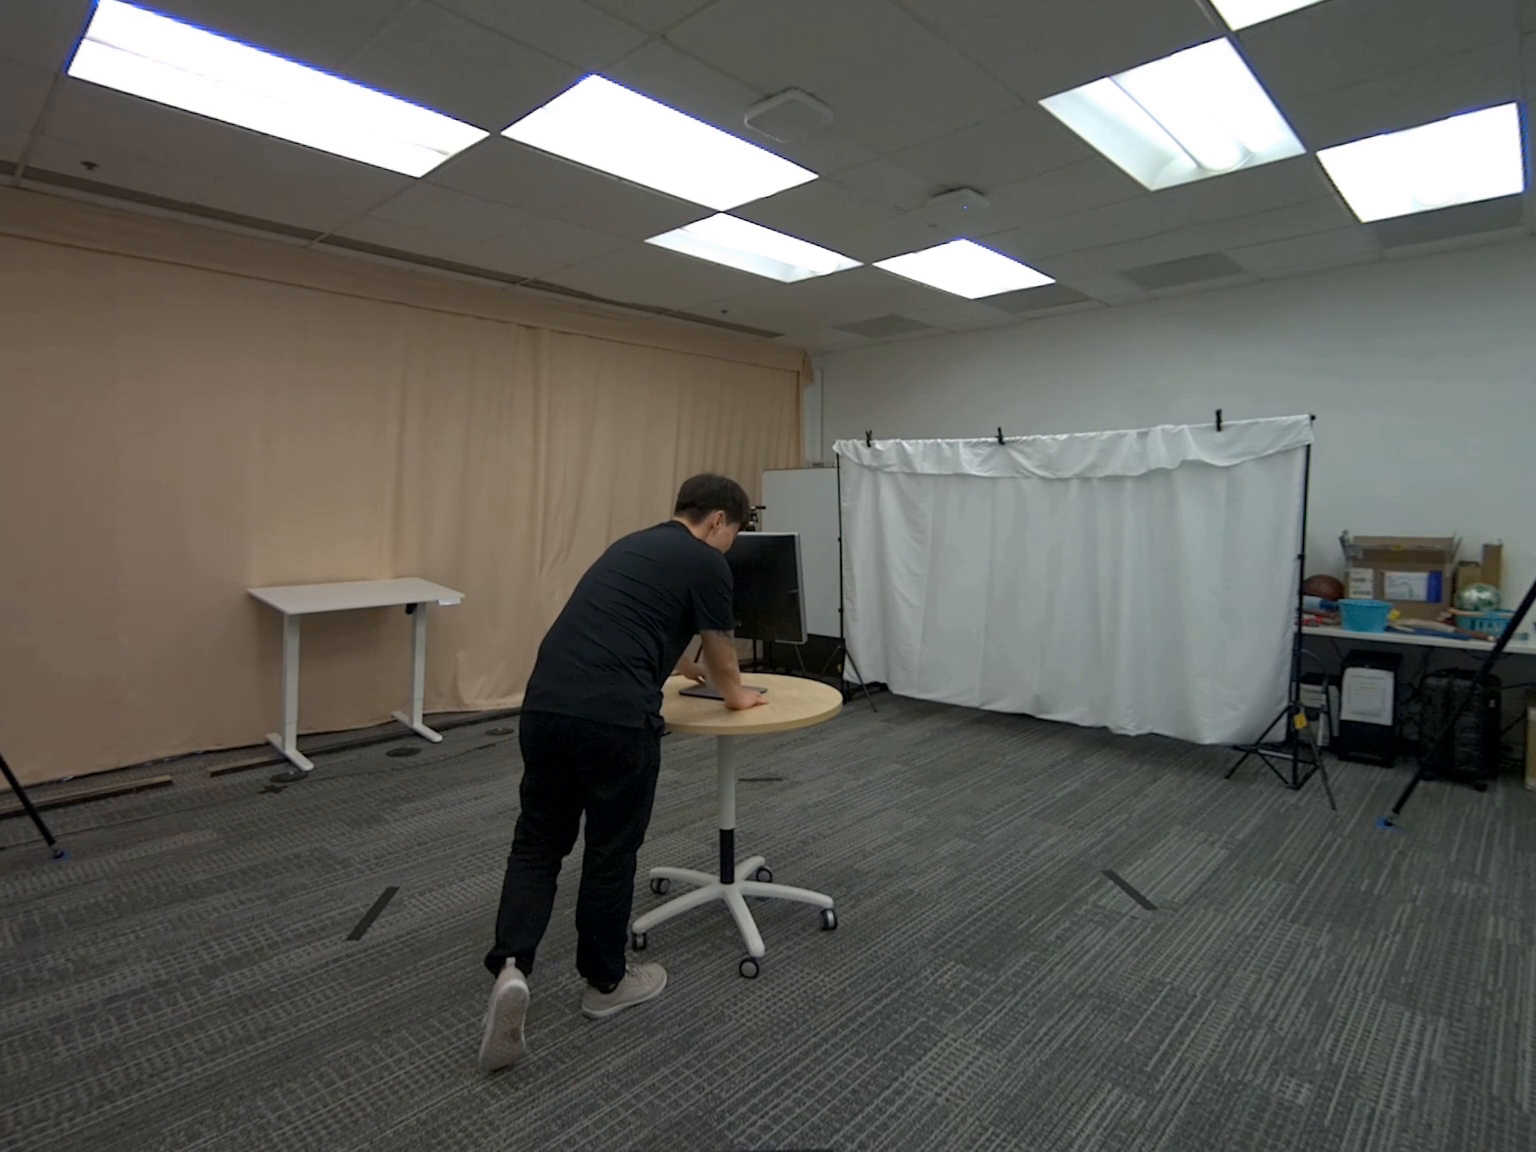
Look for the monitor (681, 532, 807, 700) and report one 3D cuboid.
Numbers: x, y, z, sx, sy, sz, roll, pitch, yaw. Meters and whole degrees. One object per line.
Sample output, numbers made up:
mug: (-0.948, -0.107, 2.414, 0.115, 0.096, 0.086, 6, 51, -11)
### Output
monitor: (-0.151, 0.128, 2.805, 0.554, 0.522, 0.182, 1, 1, 29)
